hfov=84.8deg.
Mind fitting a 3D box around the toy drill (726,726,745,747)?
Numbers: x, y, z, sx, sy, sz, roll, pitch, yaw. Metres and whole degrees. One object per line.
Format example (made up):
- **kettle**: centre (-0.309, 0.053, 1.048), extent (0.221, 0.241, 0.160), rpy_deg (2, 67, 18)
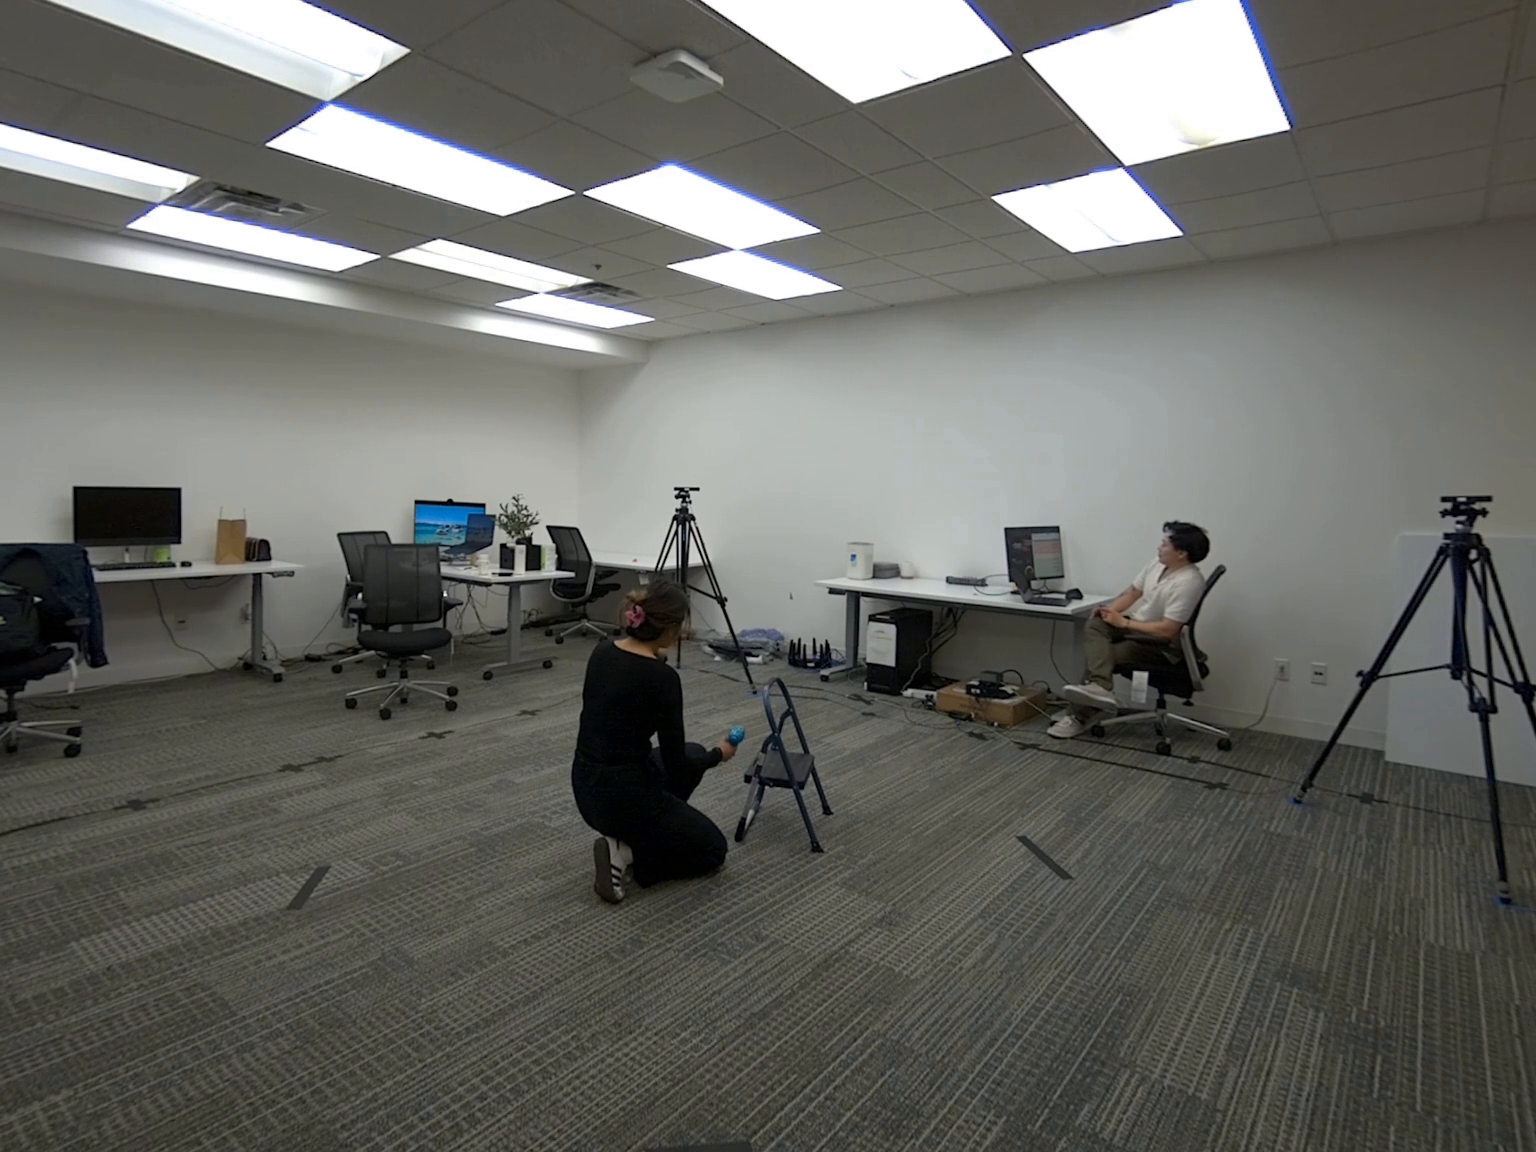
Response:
- **toy drill**: centre (-0.155, 0.627, 3.221), extent (0.061, 0.146, 0.170), rpy_deg (44, 9, -2)
